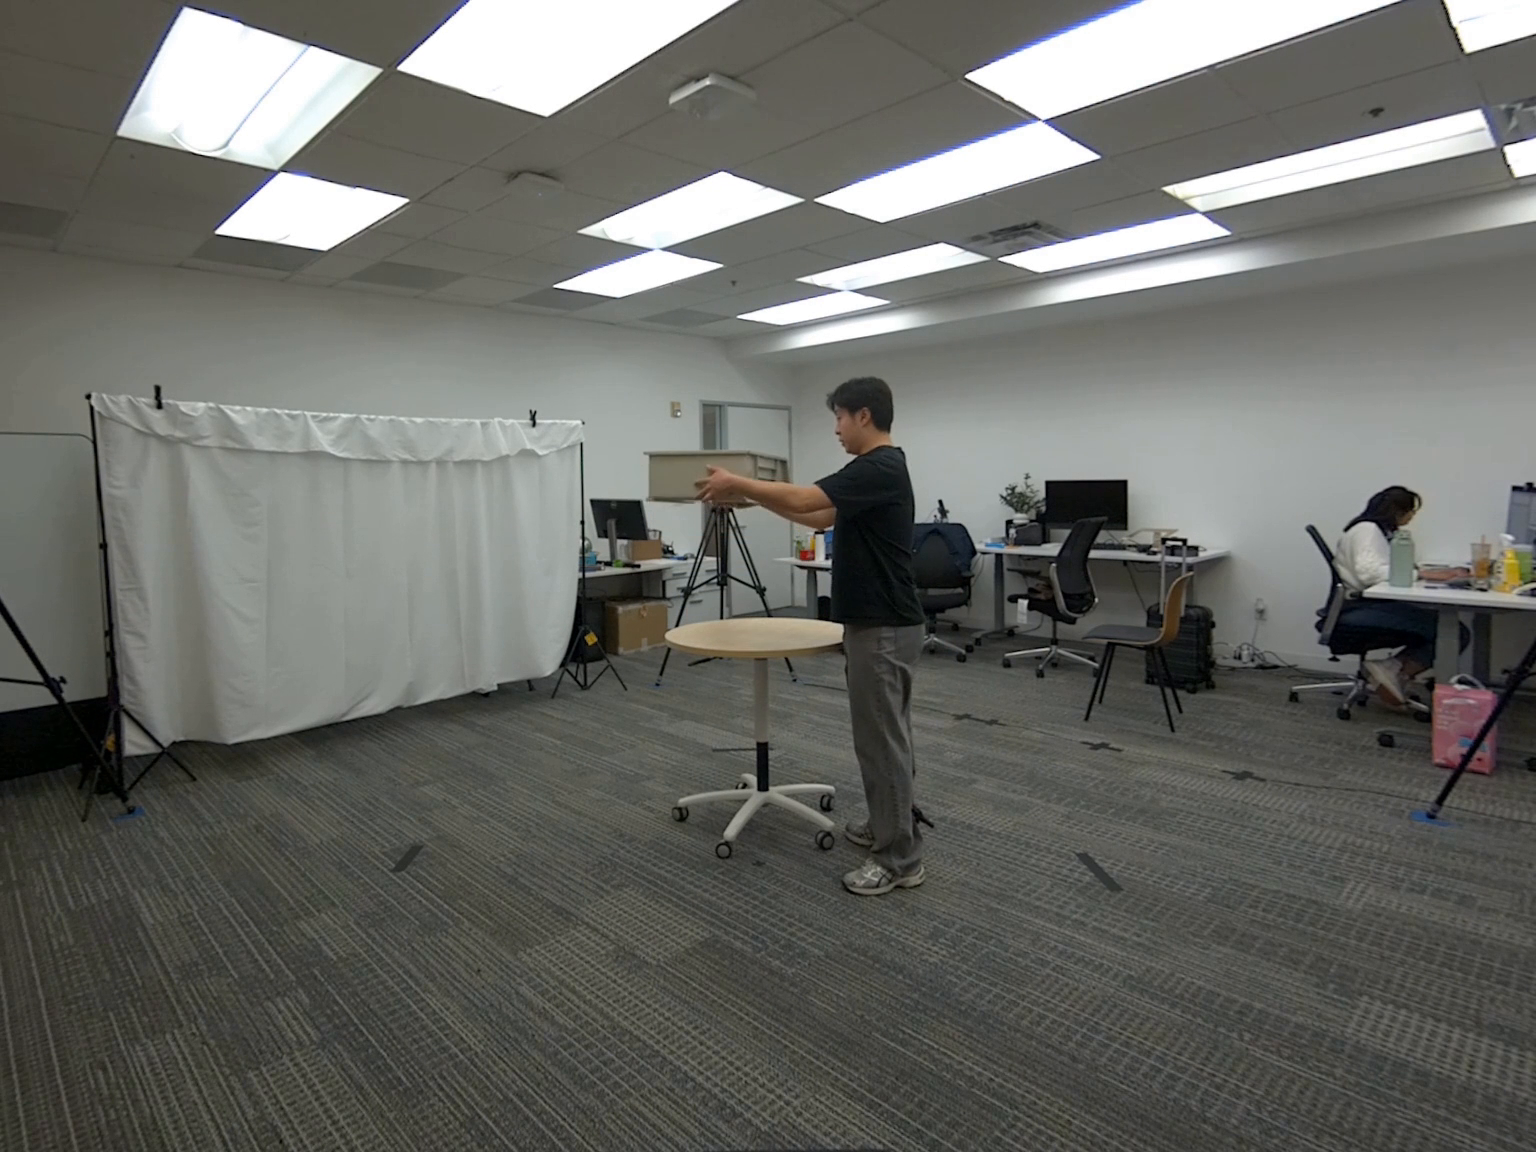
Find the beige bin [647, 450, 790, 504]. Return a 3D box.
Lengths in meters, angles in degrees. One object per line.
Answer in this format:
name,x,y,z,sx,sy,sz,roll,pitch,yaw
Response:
beige bin,-0.183,-0.358,3.160,0.432,0.188,0.369,4,4,25
